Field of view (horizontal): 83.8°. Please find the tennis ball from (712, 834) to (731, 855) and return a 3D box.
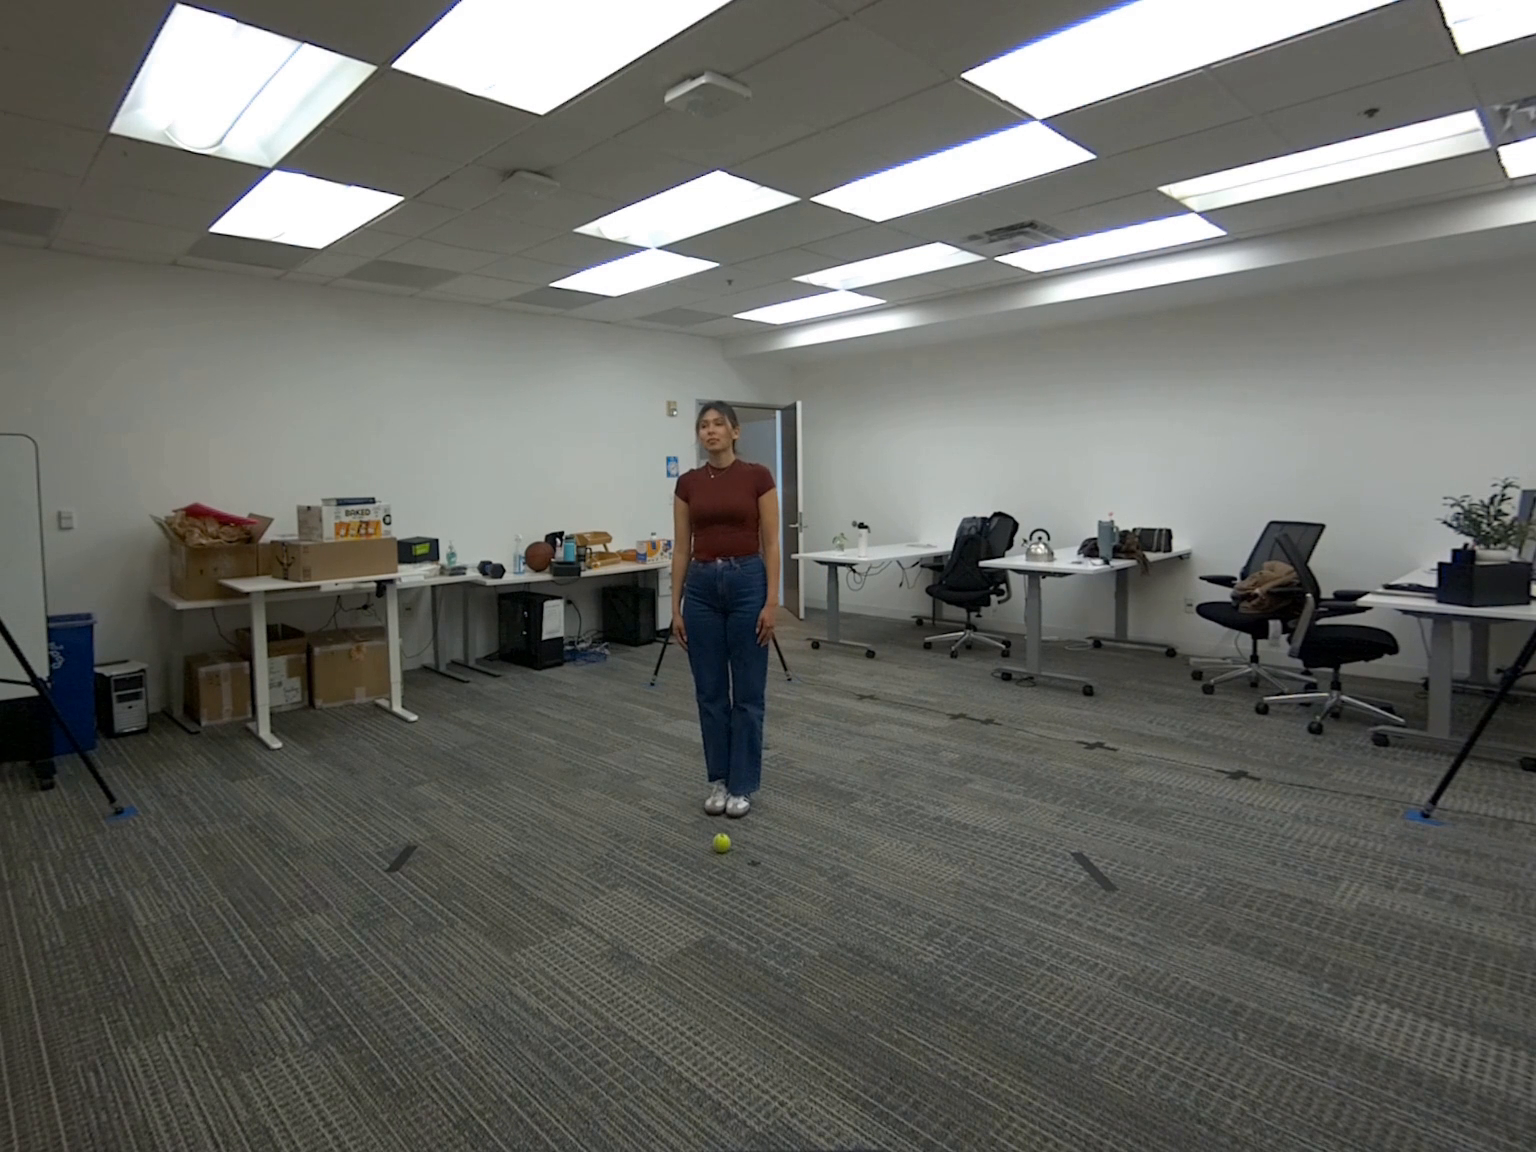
[{"bbox_3d":[-0.179,1.001,3.213,0.066,0.066,0.067,-1,5,-2],"label":"tennis ball"}]
